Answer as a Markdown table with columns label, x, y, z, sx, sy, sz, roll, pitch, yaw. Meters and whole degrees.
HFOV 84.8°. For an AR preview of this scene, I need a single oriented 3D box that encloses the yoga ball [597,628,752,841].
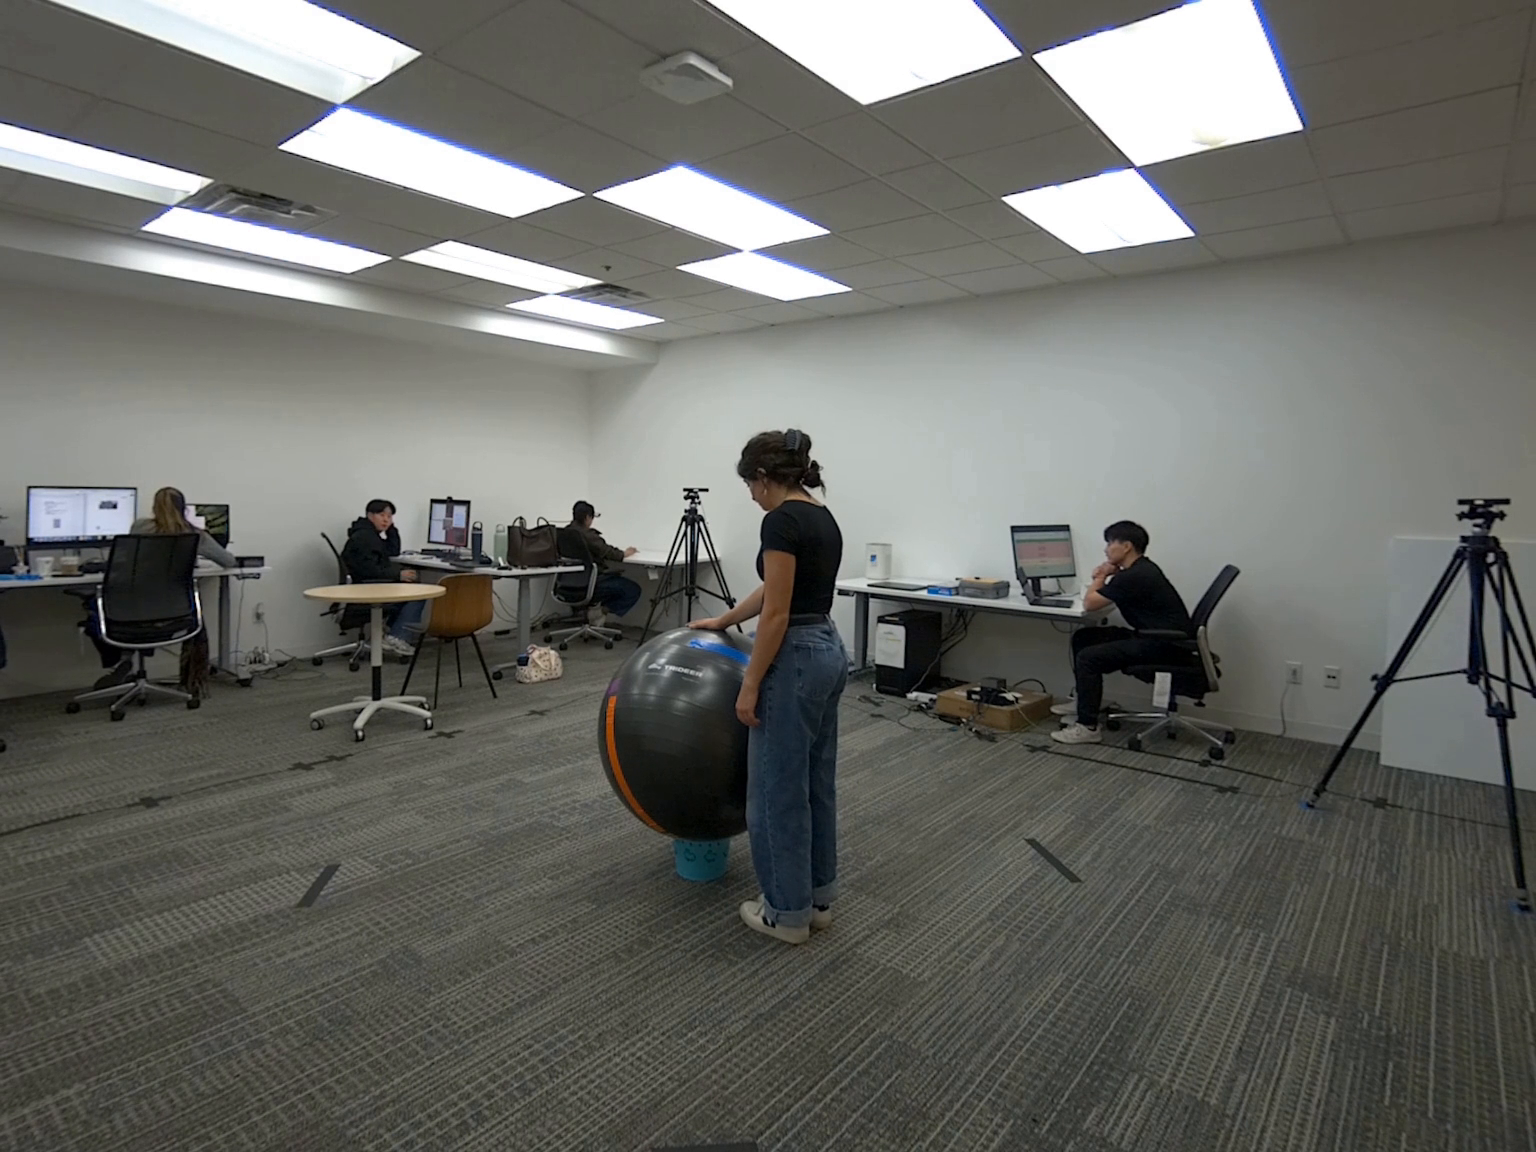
| label | x | y | z | sx | sy | sz | roll | pitch | yaw |
| --- | --- | --- | --- | --- | --- | --- | --- | --- | --- |
| yoga ball | -0.245 | 0.560 | 3.091 | 0.757 | 0.756 | 0.762 | 1 | 4 | -2 |
